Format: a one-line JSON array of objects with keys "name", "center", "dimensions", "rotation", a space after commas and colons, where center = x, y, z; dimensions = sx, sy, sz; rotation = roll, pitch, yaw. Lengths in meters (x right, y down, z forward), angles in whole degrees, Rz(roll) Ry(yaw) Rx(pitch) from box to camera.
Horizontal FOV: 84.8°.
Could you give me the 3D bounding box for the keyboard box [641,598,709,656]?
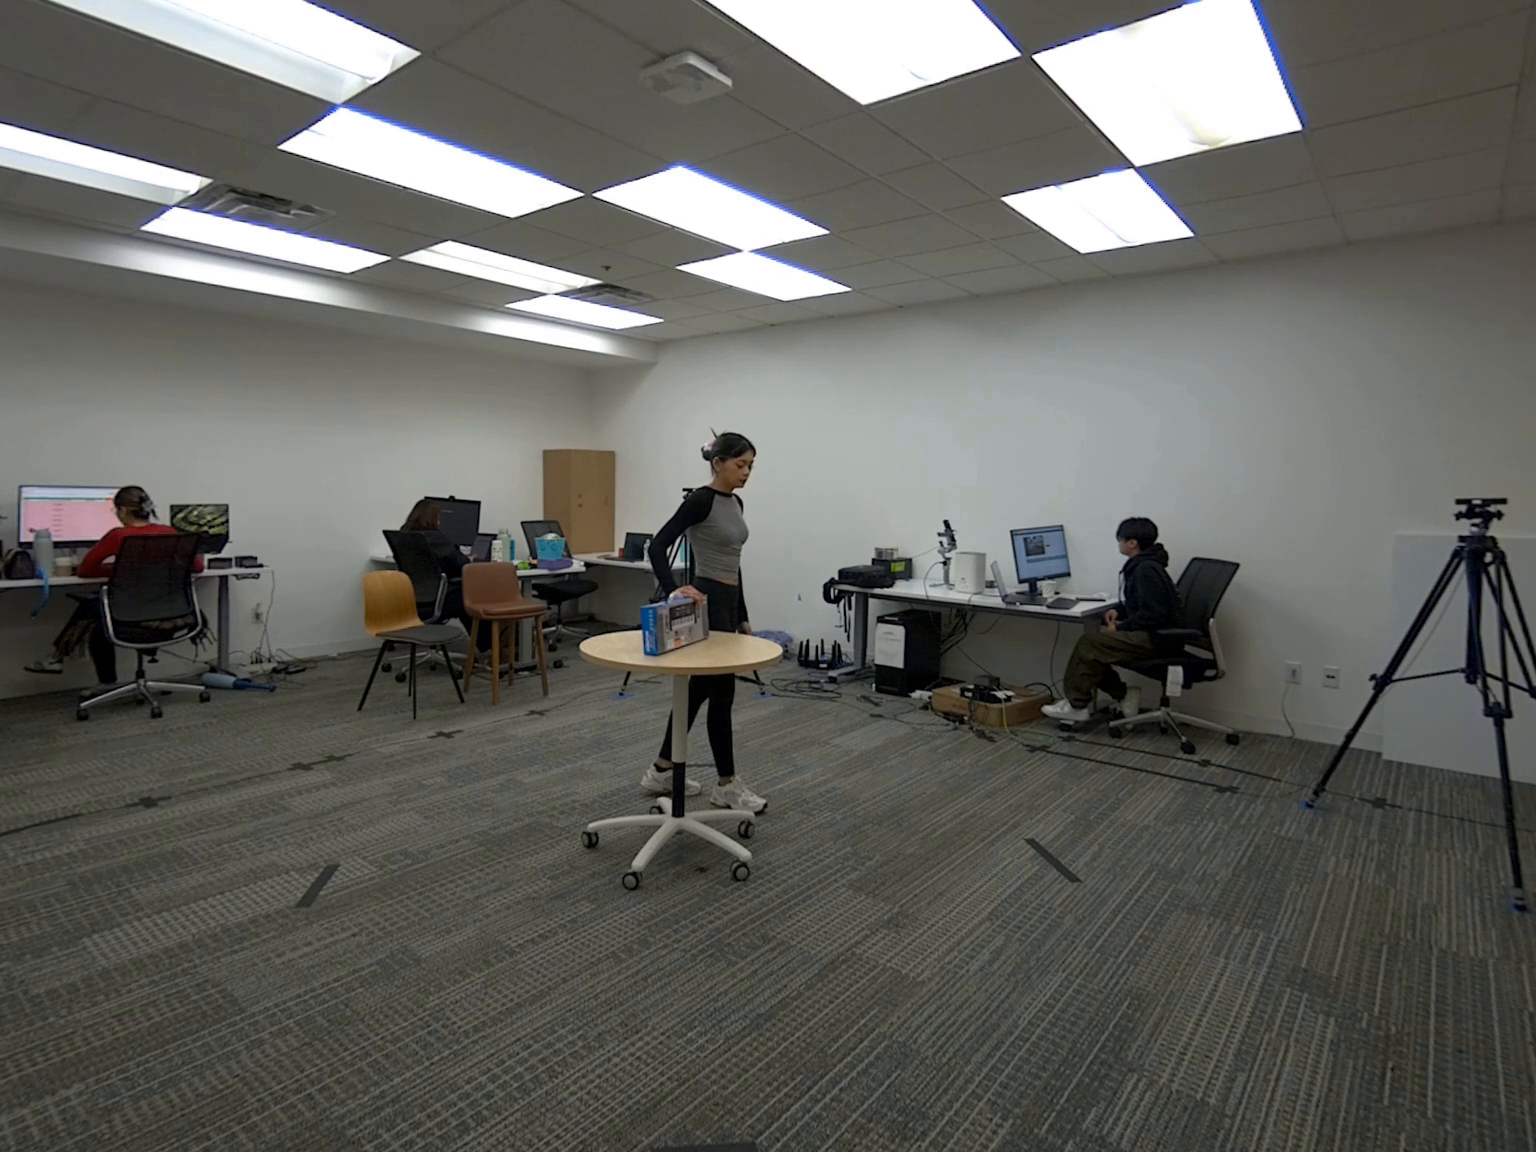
[{"name": "keyboard box", "center": [-0.355, 0.177, 3.212], "dimensions": [0.060, 0.176, 0.428], "rotation": [-4, 2, 22]}]
